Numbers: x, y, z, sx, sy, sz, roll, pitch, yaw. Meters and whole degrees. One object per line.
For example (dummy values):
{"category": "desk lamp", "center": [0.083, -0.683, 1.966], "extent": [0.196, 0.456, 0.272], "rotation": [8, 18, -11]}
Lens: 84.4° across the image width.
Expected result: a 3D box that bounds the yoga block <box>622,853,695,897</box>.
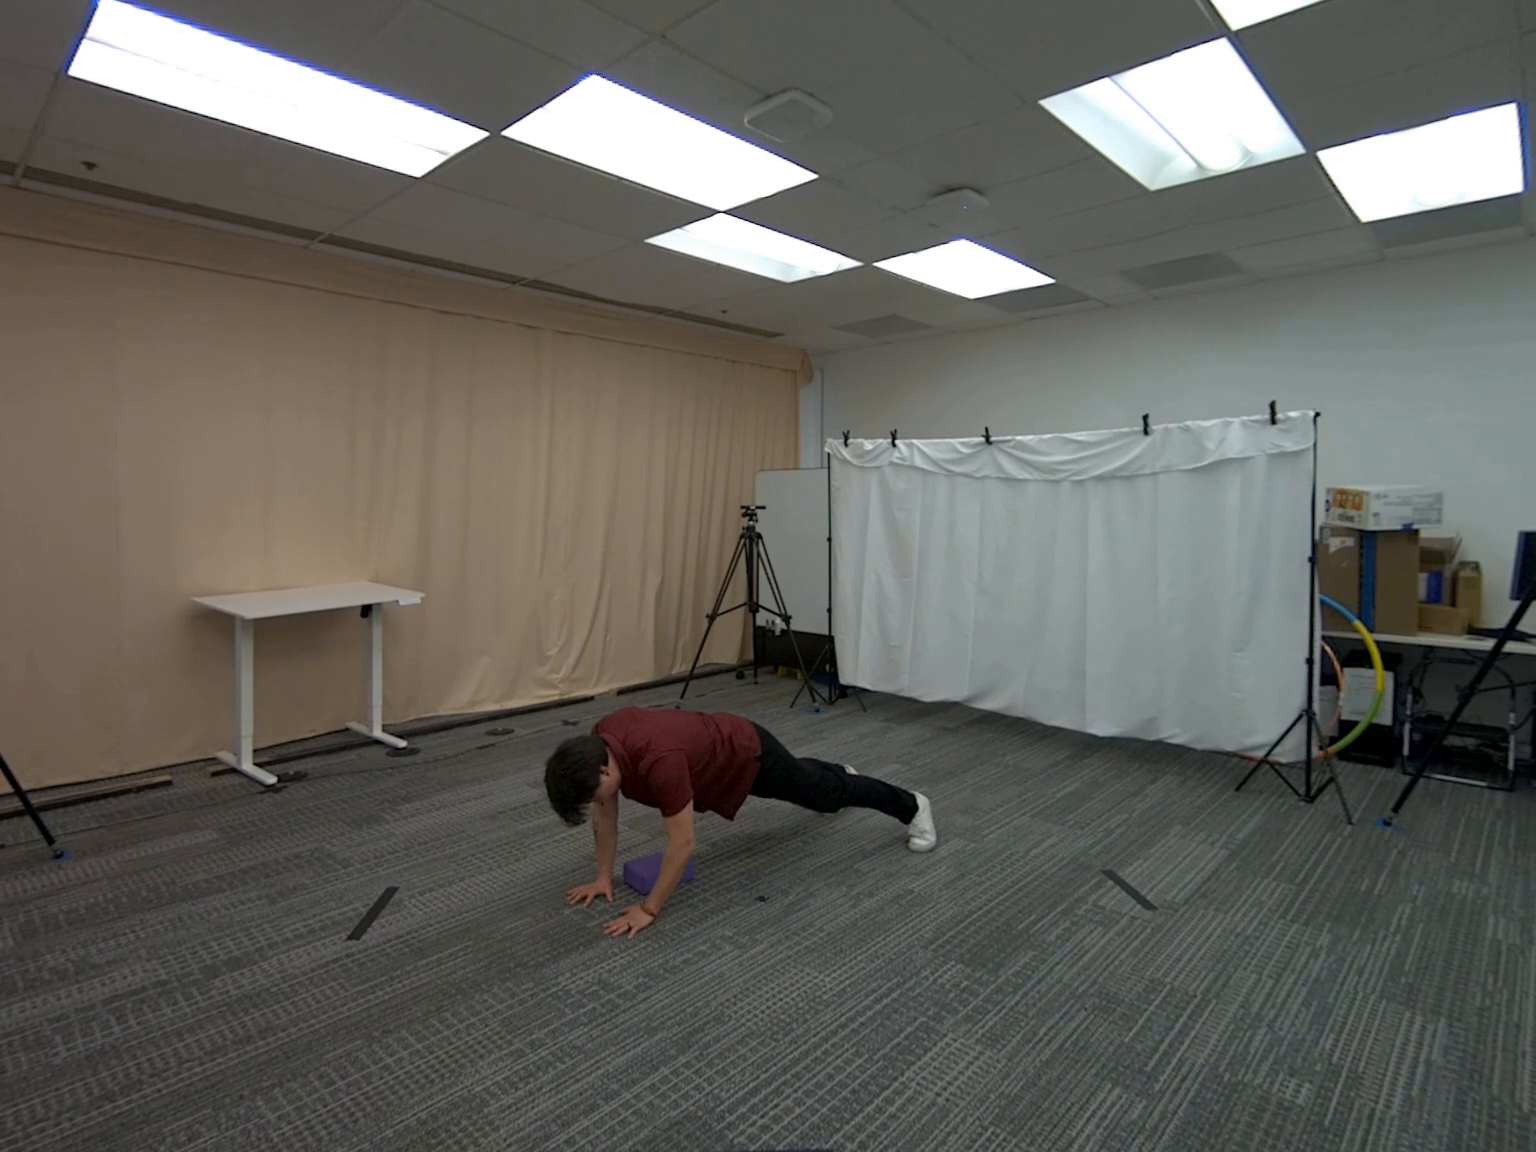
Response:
{"category": "yoga block", "center": [-0.402, 1.091, 3.125], "extent": [0.223, 0.076, 0.154], "rotation": [-5, 8, -36]}
